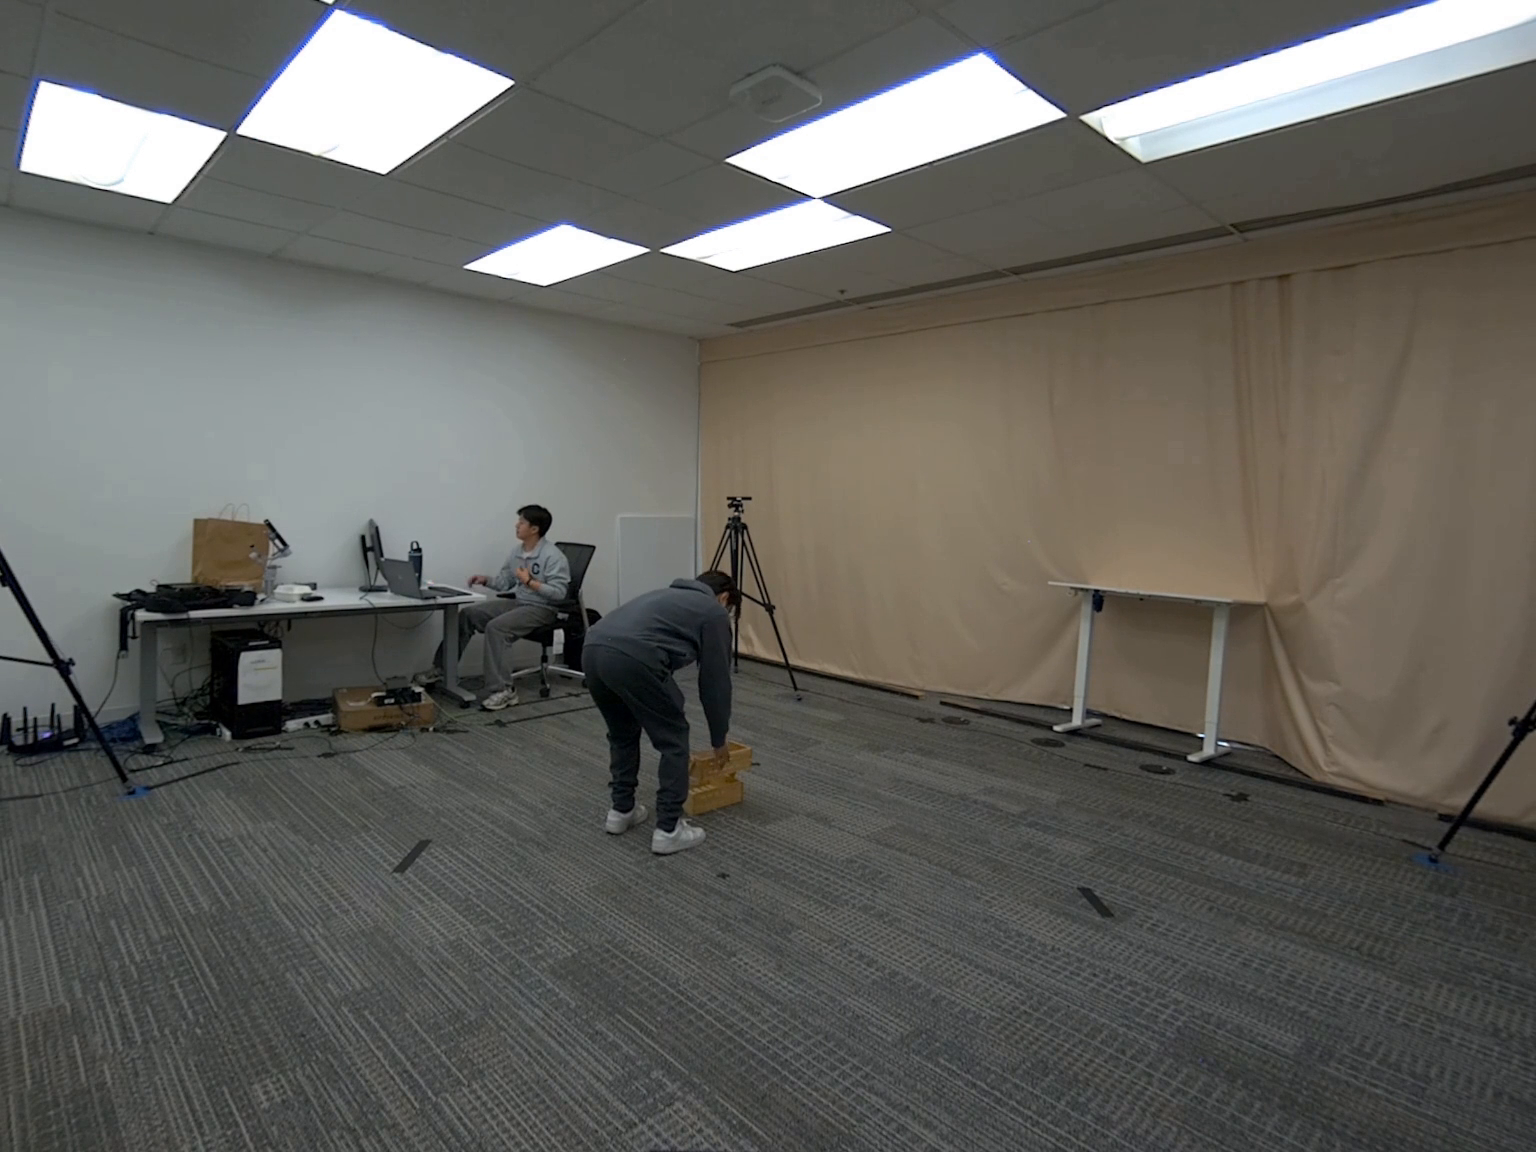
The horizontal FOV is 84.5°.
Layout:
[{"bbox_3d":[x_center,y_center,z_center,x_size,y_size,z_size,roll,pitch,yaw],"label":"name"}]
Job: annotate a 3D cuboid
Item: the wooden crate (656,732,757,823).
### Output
[{"bbox_3d":[-0.284,0.903,3.855,0.317,0.272,0.310,-2,6,-43],"label":"wooden crate"}]
